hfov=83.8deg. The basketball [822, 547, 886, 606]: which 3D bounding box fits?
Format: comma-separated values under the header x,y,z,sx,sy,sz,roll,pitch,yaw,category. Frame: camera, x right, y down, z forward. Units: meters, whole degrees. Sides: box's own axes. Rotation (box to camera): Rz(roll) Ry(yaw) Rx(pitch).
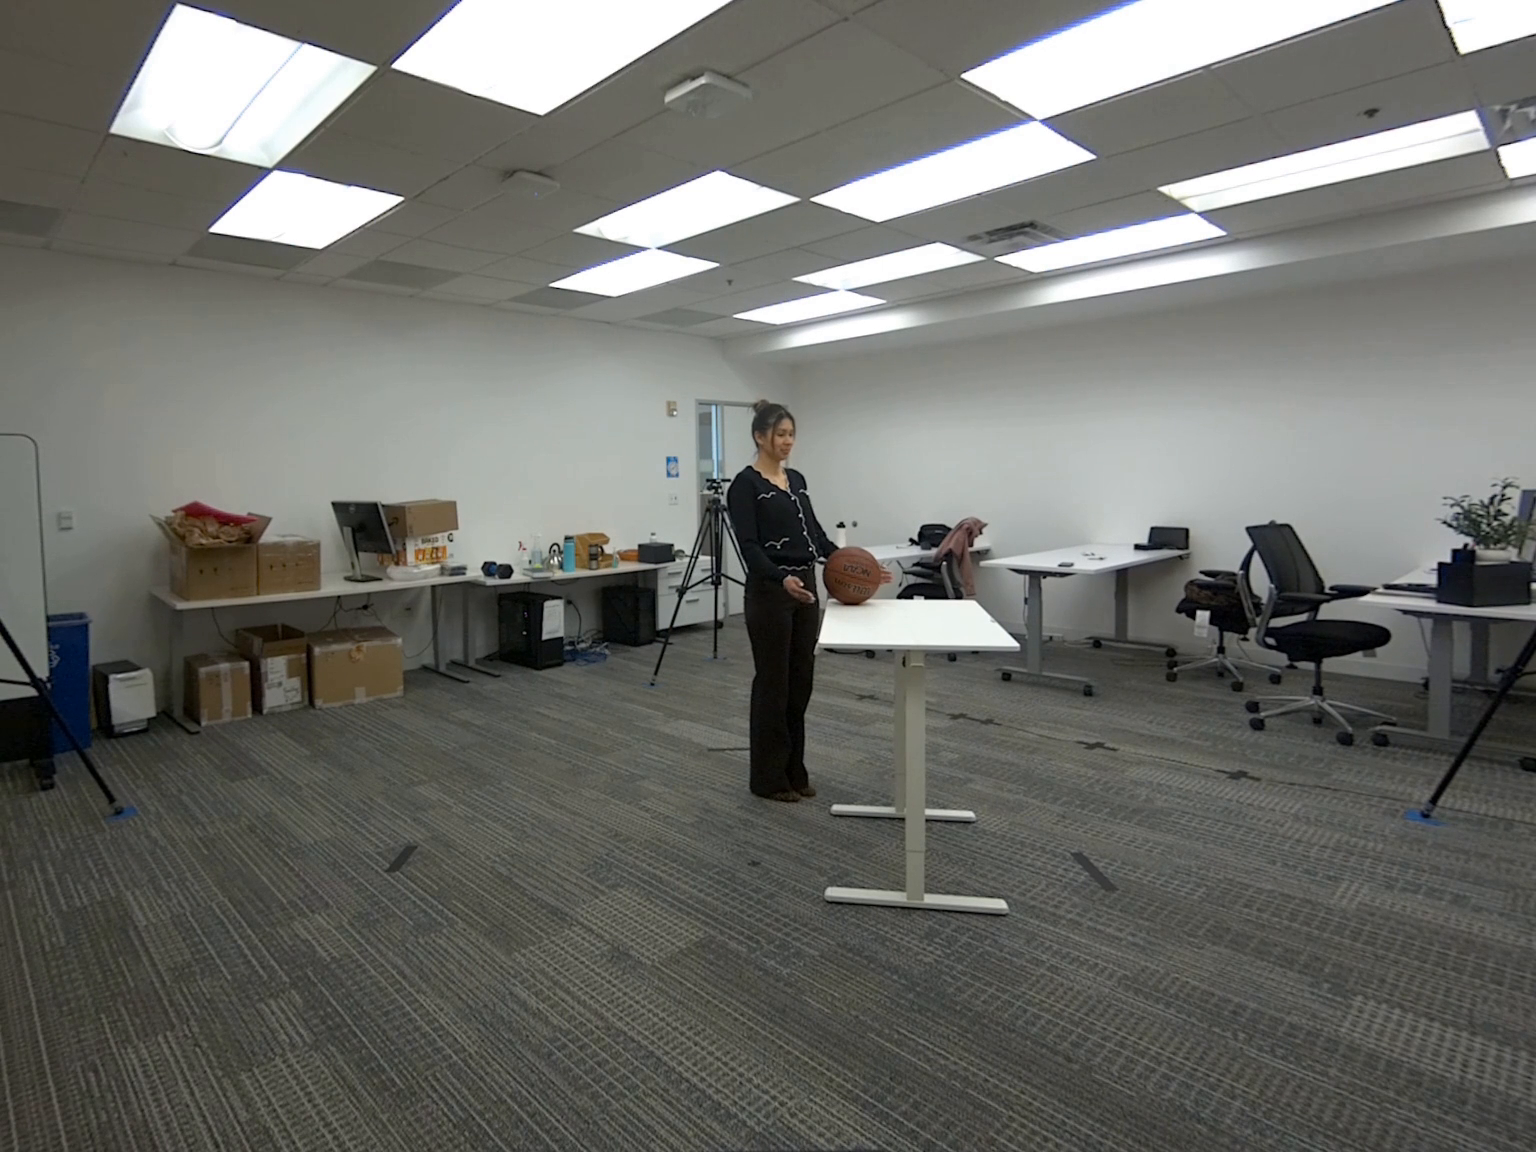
x,y,z,sx,sy,sz,roll,pitch,yaw,category
0.341,-0.002,3.480,0.236,0.235,0.237,-1,5,-2,basketball
